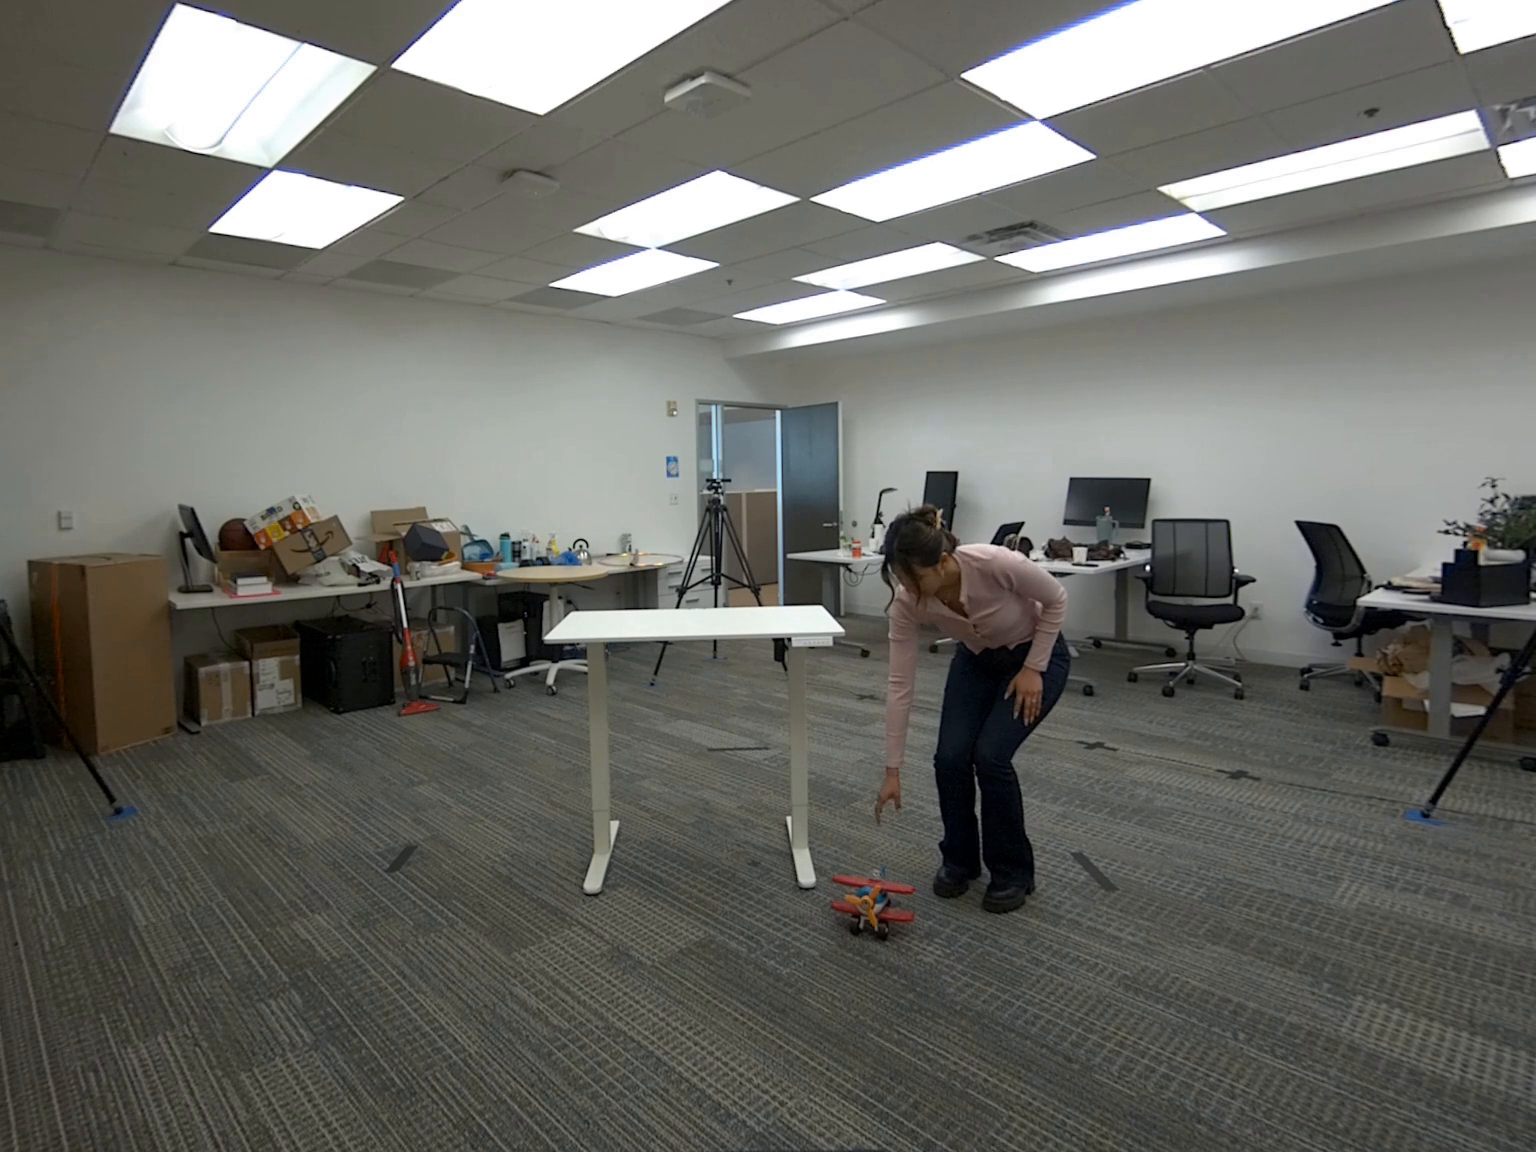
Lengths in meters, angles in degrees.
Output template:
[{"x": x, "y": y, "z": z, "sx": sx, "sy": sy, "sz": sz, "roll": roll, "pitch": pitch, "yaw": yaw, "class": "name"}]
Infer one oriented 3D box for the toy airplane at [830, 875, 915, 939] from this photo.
[{"x": 0.326, "y": 1.013, "z": 2.678, "sx": 0.249, "sy": 0.155, "sz": 0.262, "roll": -4, "pitch": 7, "yaw": -8, "class": "toy airplane"}]
